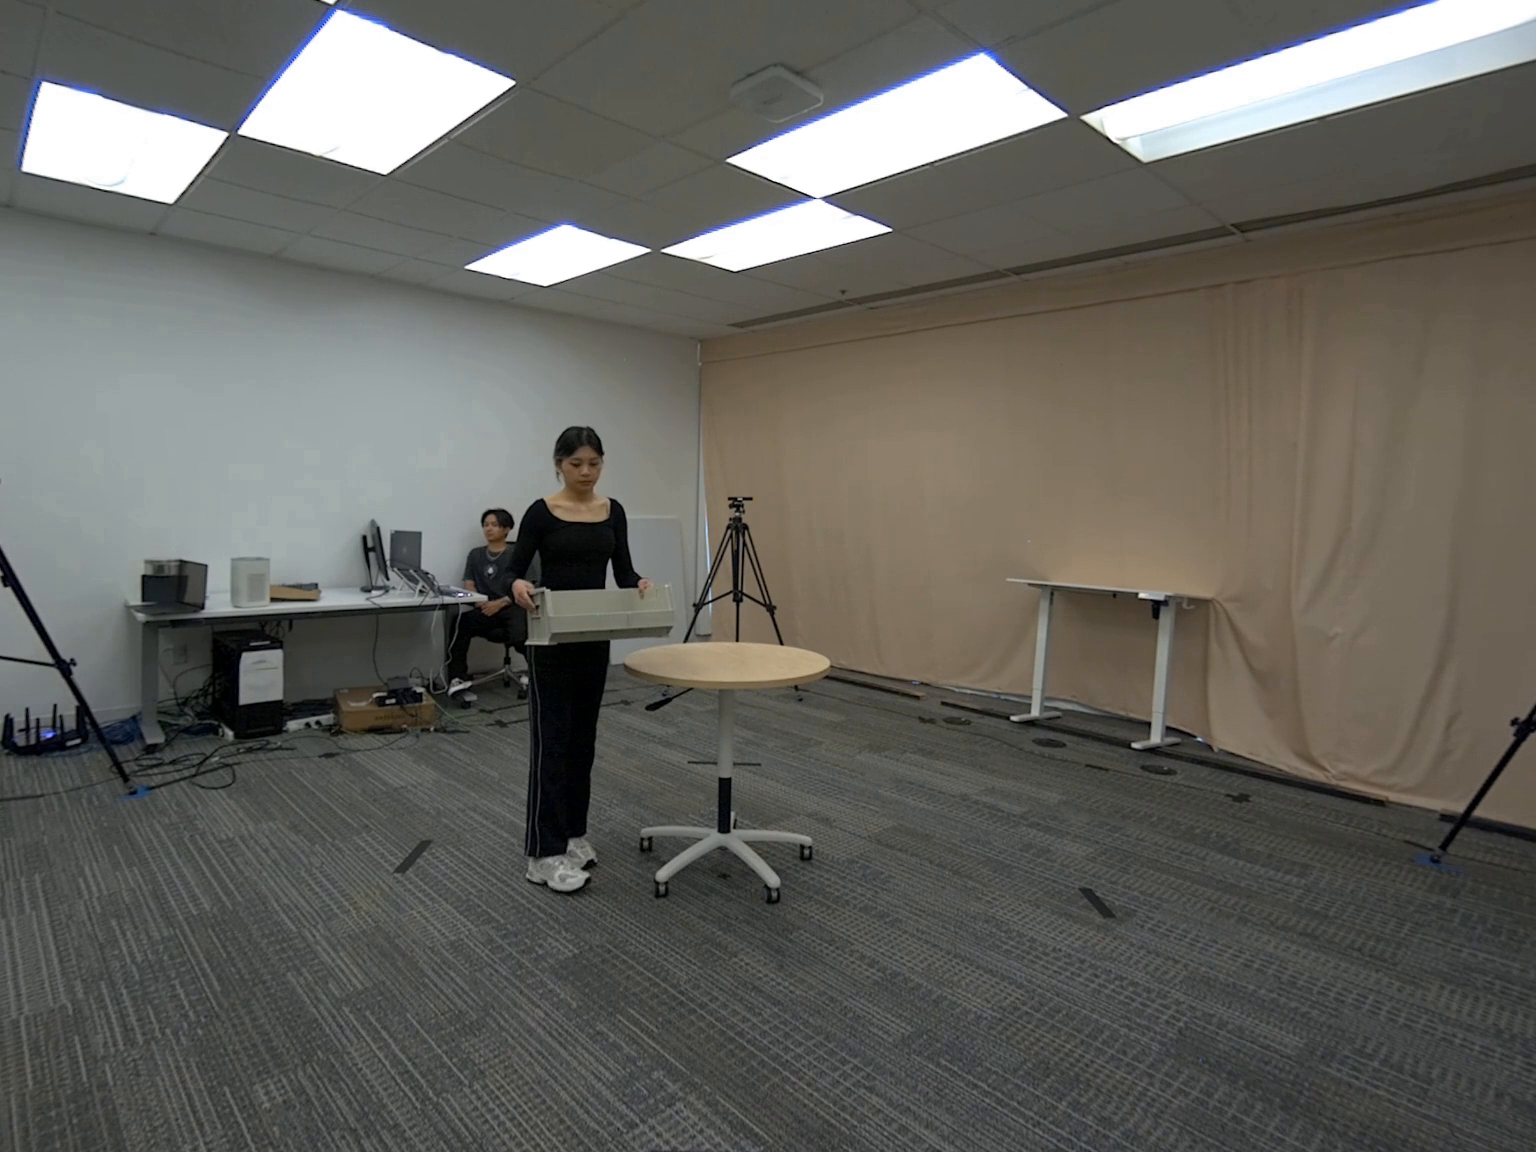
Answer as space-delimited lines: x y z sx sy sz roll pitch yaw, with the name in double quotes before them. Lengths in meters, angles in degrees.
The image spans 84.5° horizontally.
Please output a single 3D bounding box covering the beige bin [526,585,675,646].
"beige bin" -0.581 0.131 2.803 0.414 0.189 0.383 -2 -4 -27
